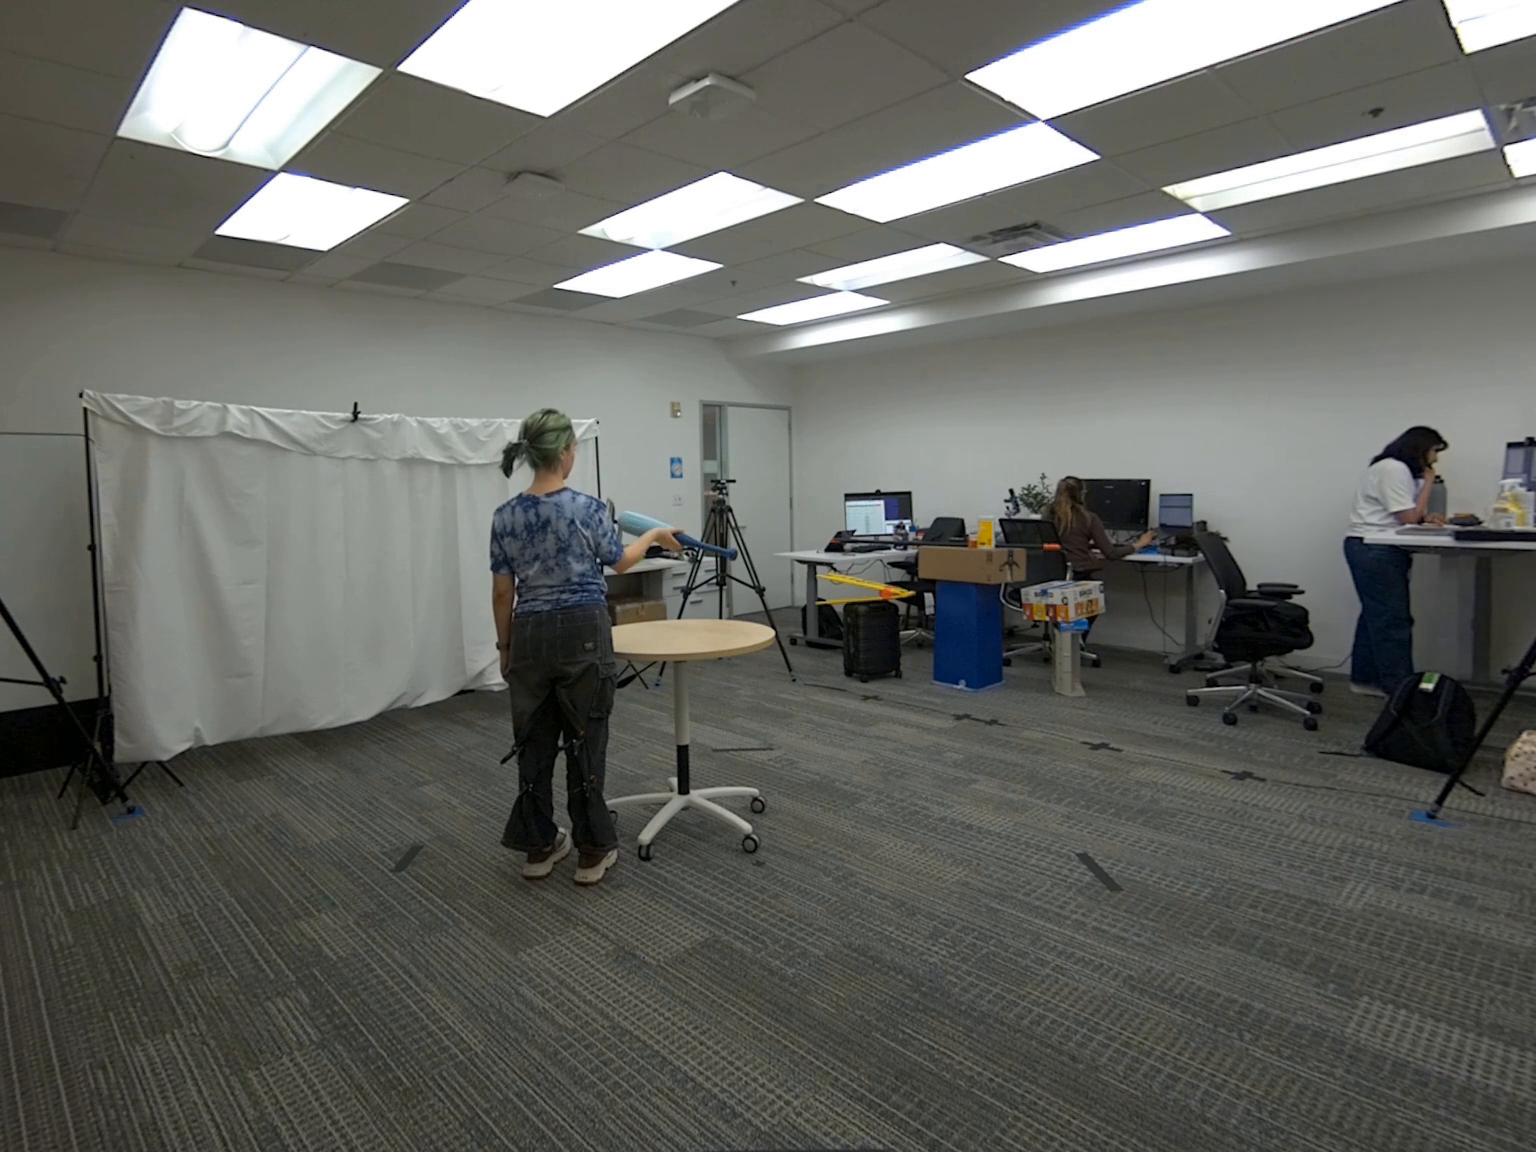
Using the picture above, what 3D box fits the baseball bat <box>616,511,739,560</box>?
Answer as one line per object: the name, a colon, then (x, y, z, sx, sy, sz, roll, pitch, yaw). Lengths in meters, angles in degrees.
baseball bat: (-0.360, -0.150, 3.375, 0.559, 0.088, 0.087, 18, 12, 27)
